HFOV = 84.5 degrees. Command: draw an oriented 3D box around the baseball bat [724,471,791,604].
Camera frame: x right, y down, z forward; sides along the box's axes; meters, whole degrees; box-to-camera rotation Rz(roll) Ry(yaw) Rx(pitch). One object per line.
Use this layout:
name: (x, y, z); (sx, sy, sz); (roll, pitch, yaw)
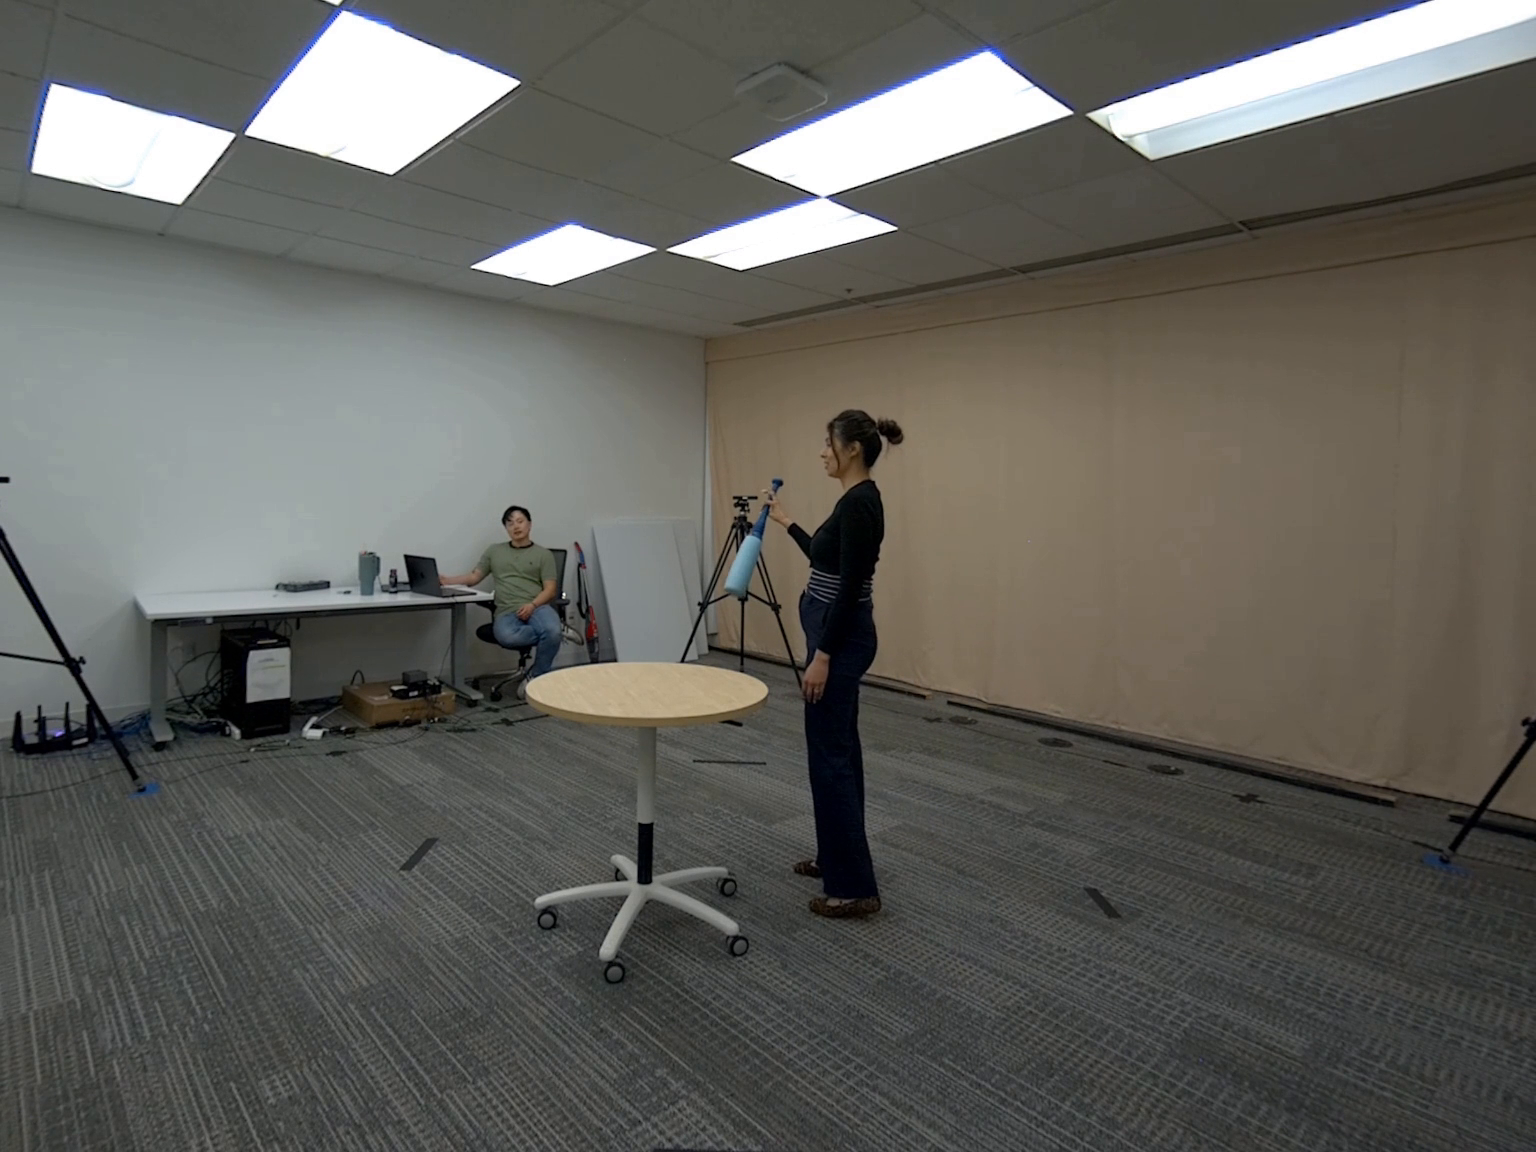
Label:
baseball bat: (-0.043, -0.163, 3.405); (0.090, 0.547, 0.088); (18, -21, 6)
